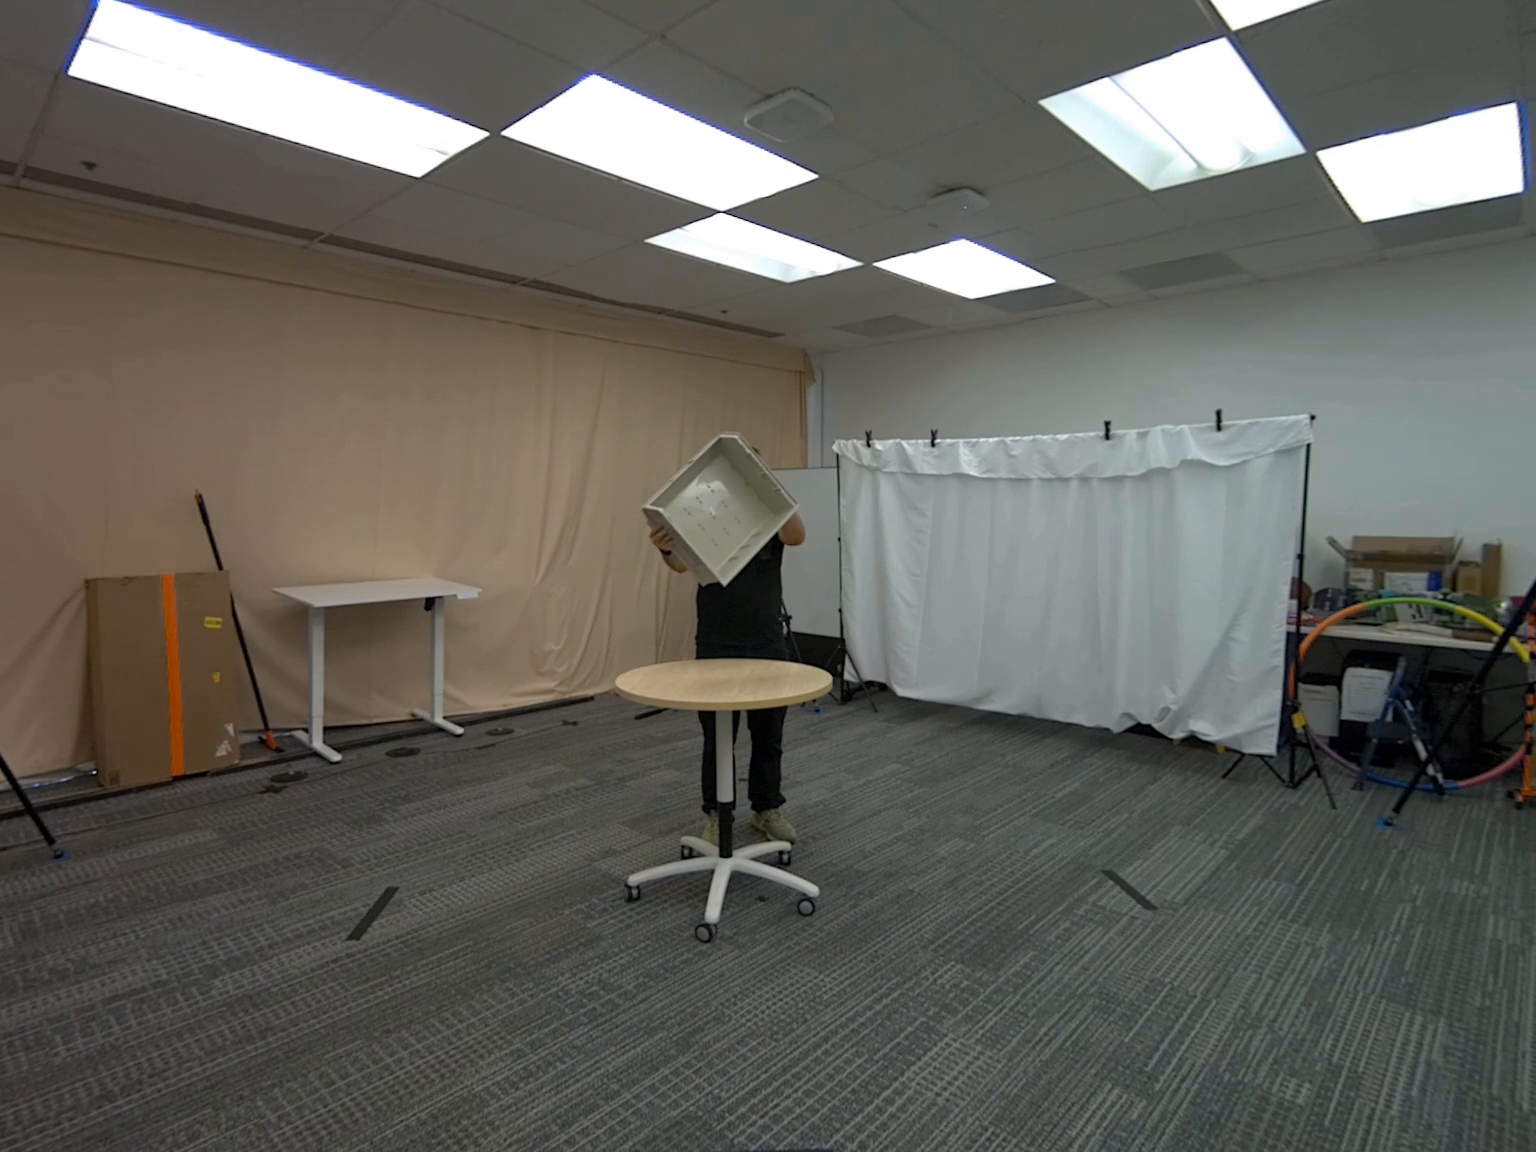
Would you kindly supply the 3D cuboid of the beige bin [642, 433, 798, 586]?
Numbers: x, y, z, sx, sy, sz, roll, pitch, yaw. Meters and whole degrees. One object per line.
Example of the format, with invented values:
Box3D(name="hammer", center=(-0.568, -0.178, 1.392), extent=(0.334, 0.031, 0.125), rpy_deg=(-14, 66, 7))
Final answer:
Box3D(name="beige bin", center=(-0.173, -0.234, 2.978), extent=(0.419, 0.372, 0.193), rpy_deg=(-47, 12, -23))
